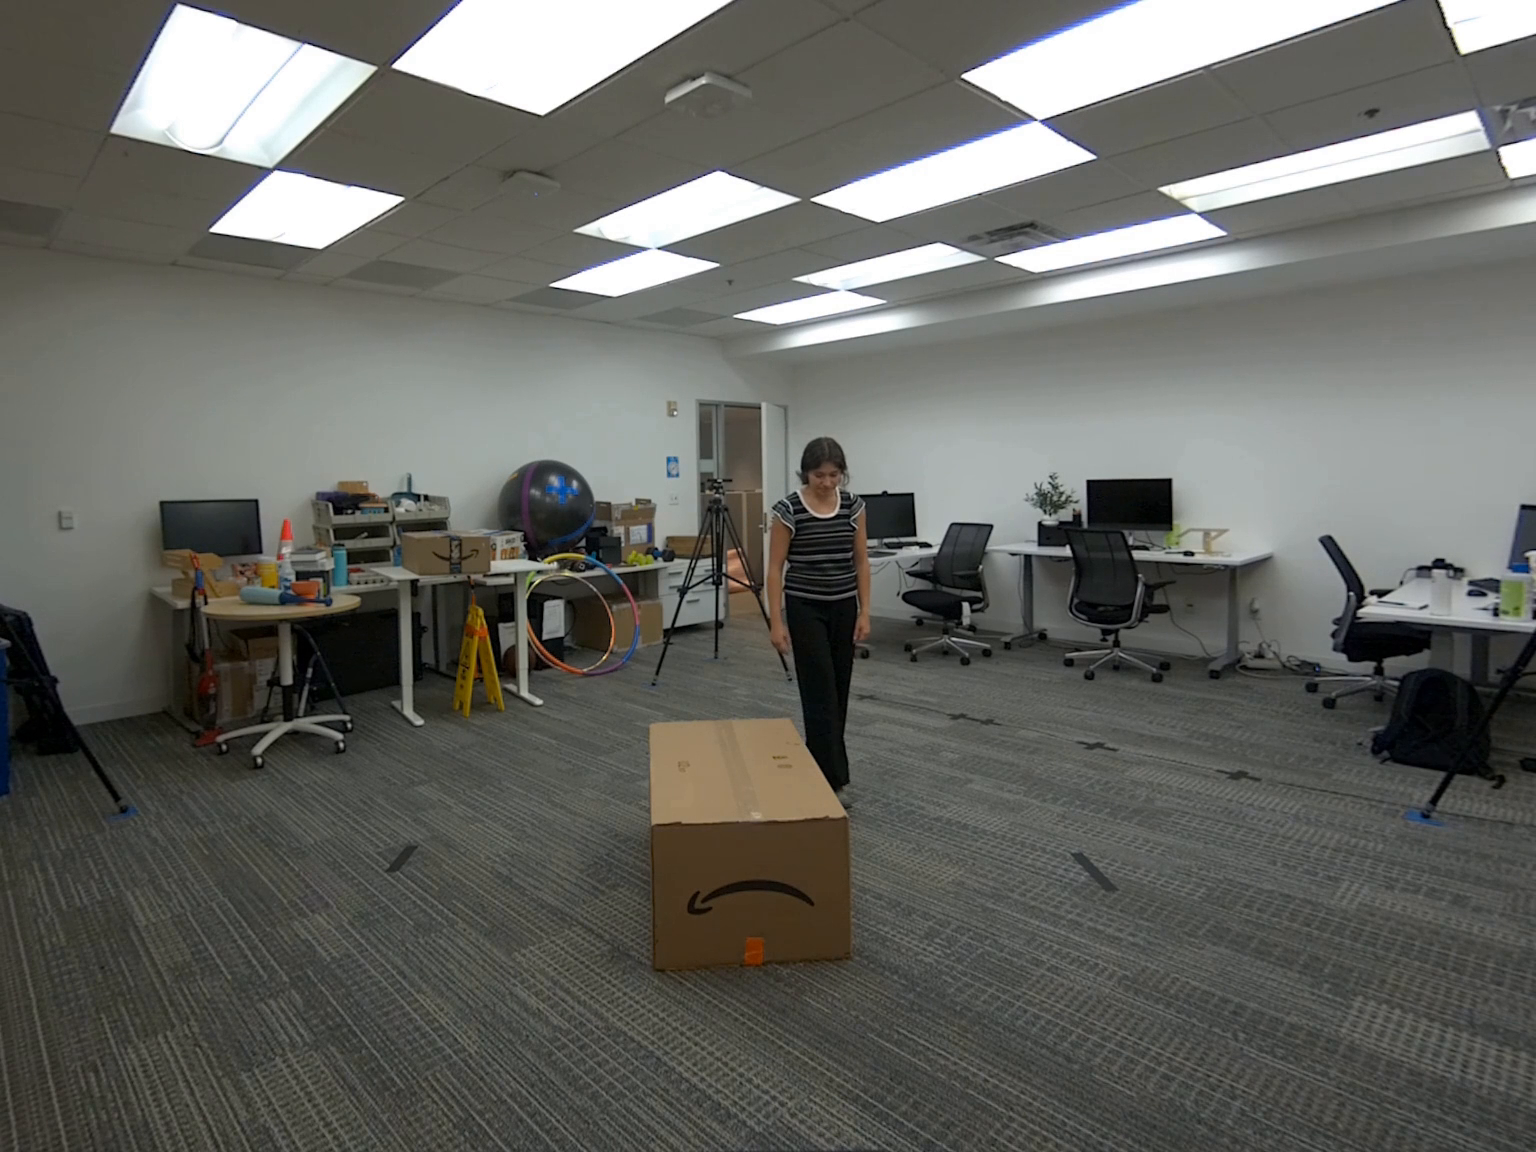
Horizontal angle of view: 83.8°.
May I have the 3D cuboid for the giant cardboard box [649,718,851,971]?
[{"bbox_3d":[-0.118,0.850,2.948,0.574,0.424,1.037,-1,6,-7],"label":"giant cardboard box"}]
